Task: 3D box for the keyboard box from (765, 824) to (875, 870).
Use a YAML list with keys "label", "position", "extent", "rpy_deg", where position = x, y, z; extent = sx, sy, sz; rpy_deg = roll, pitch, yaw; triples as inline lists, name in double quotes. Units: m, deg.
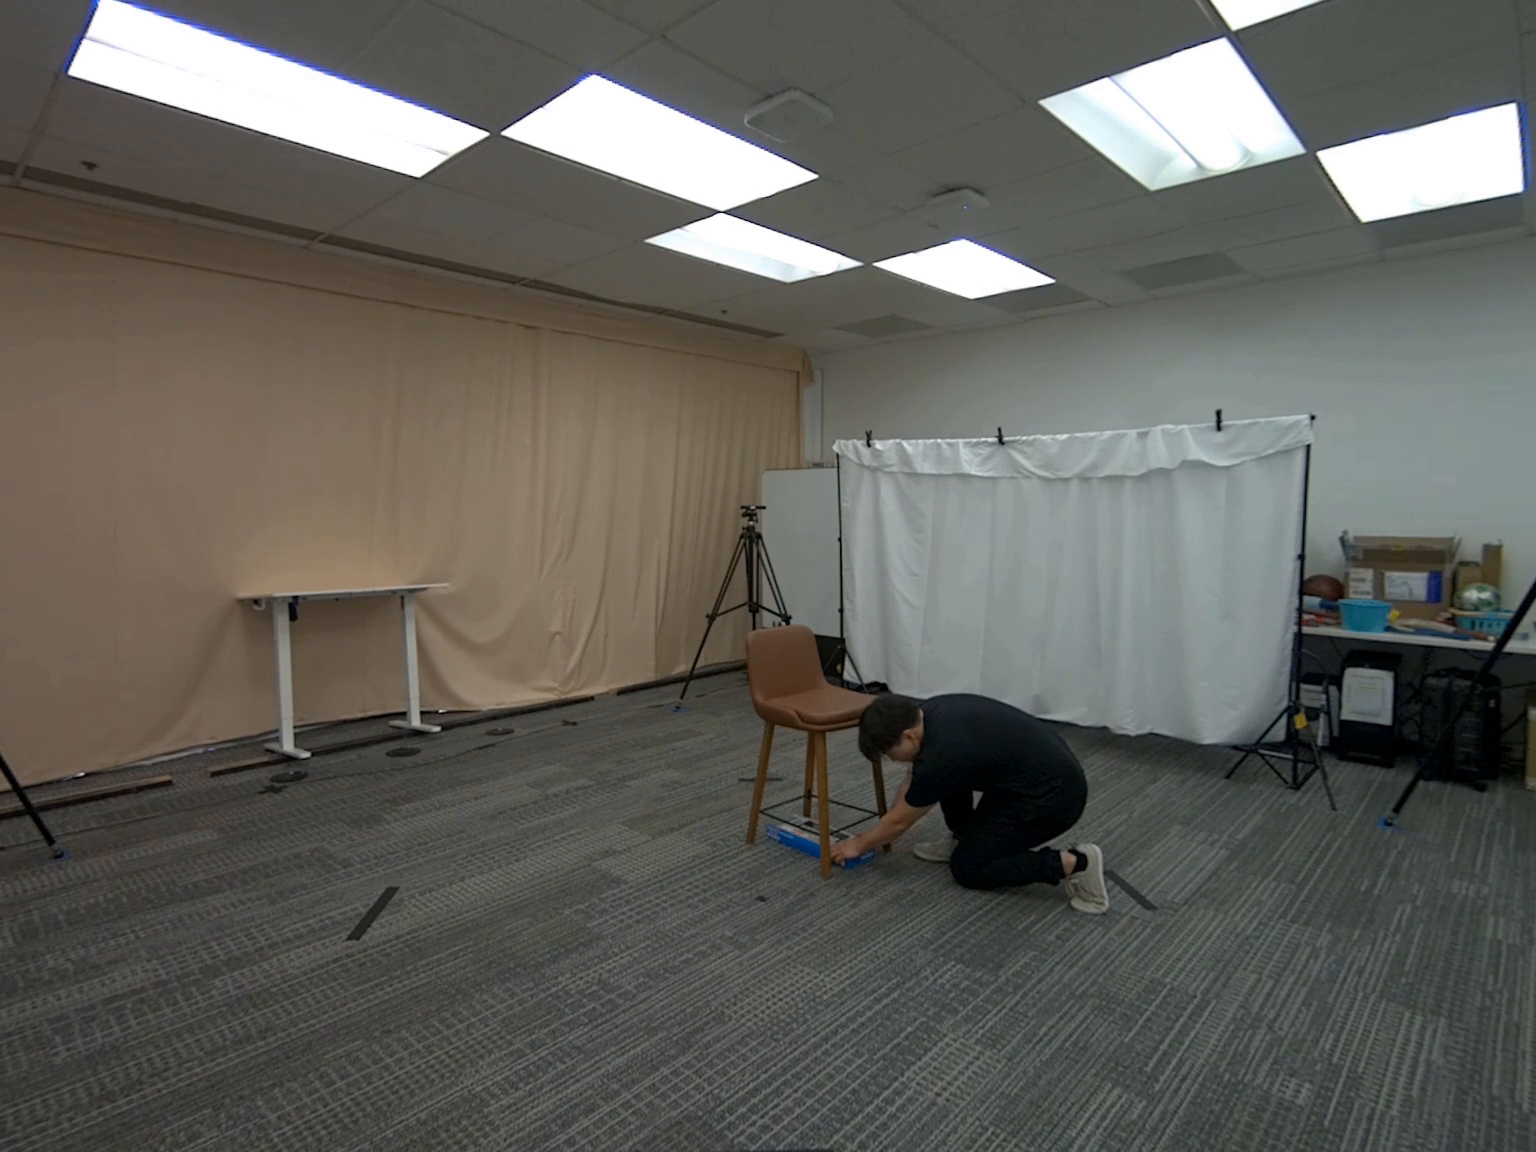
- label: "keyboard box"
  position: [0.213, 1.085, 3.438]
  extent: [0.170, 0.059, 0.451]
  rpy_deg: [-4, 6, -44]
